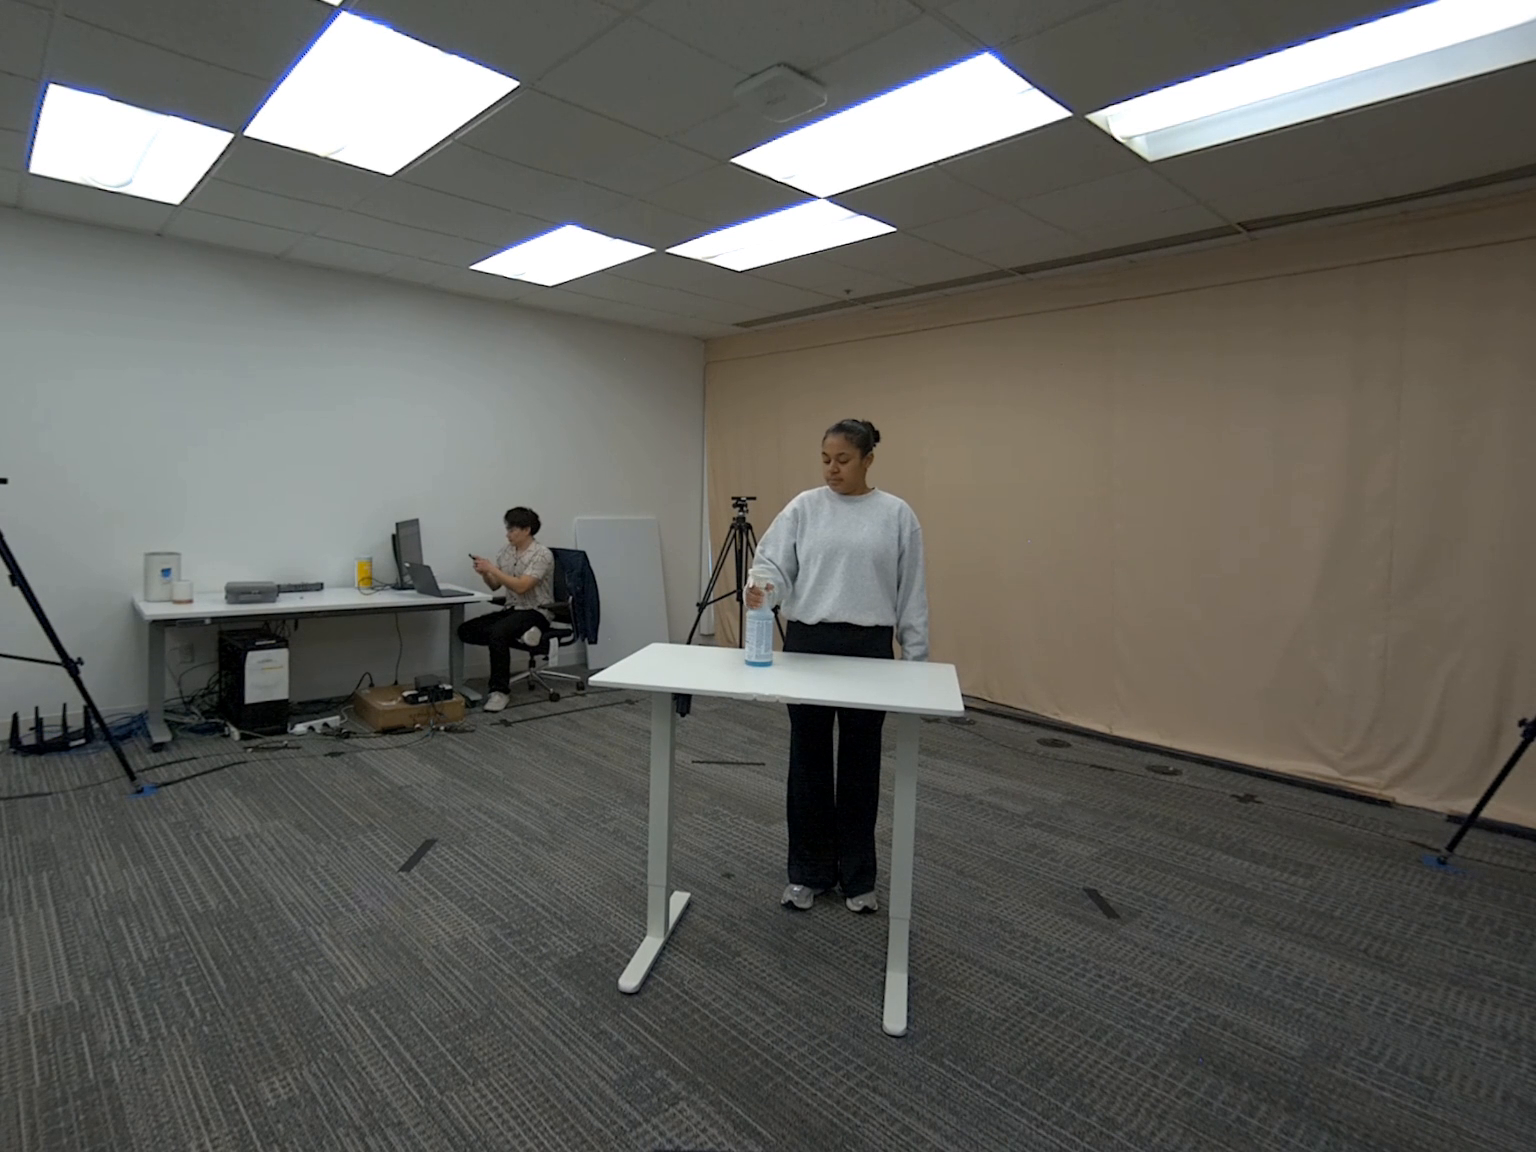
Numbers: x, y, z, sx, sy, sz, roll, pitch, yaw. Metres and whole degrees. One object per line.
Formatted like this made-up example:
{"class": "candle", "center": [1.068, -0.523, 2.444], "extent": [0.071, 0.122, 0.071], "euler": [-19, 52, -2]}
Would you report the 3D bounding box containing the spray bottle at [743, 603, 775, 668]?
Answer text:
{"class": "spray bottle", "center": [-0.032, 0.131, 2.576], "extent": [0.088, 0.296, 0.088], "euler": [0, 5, -21]}
